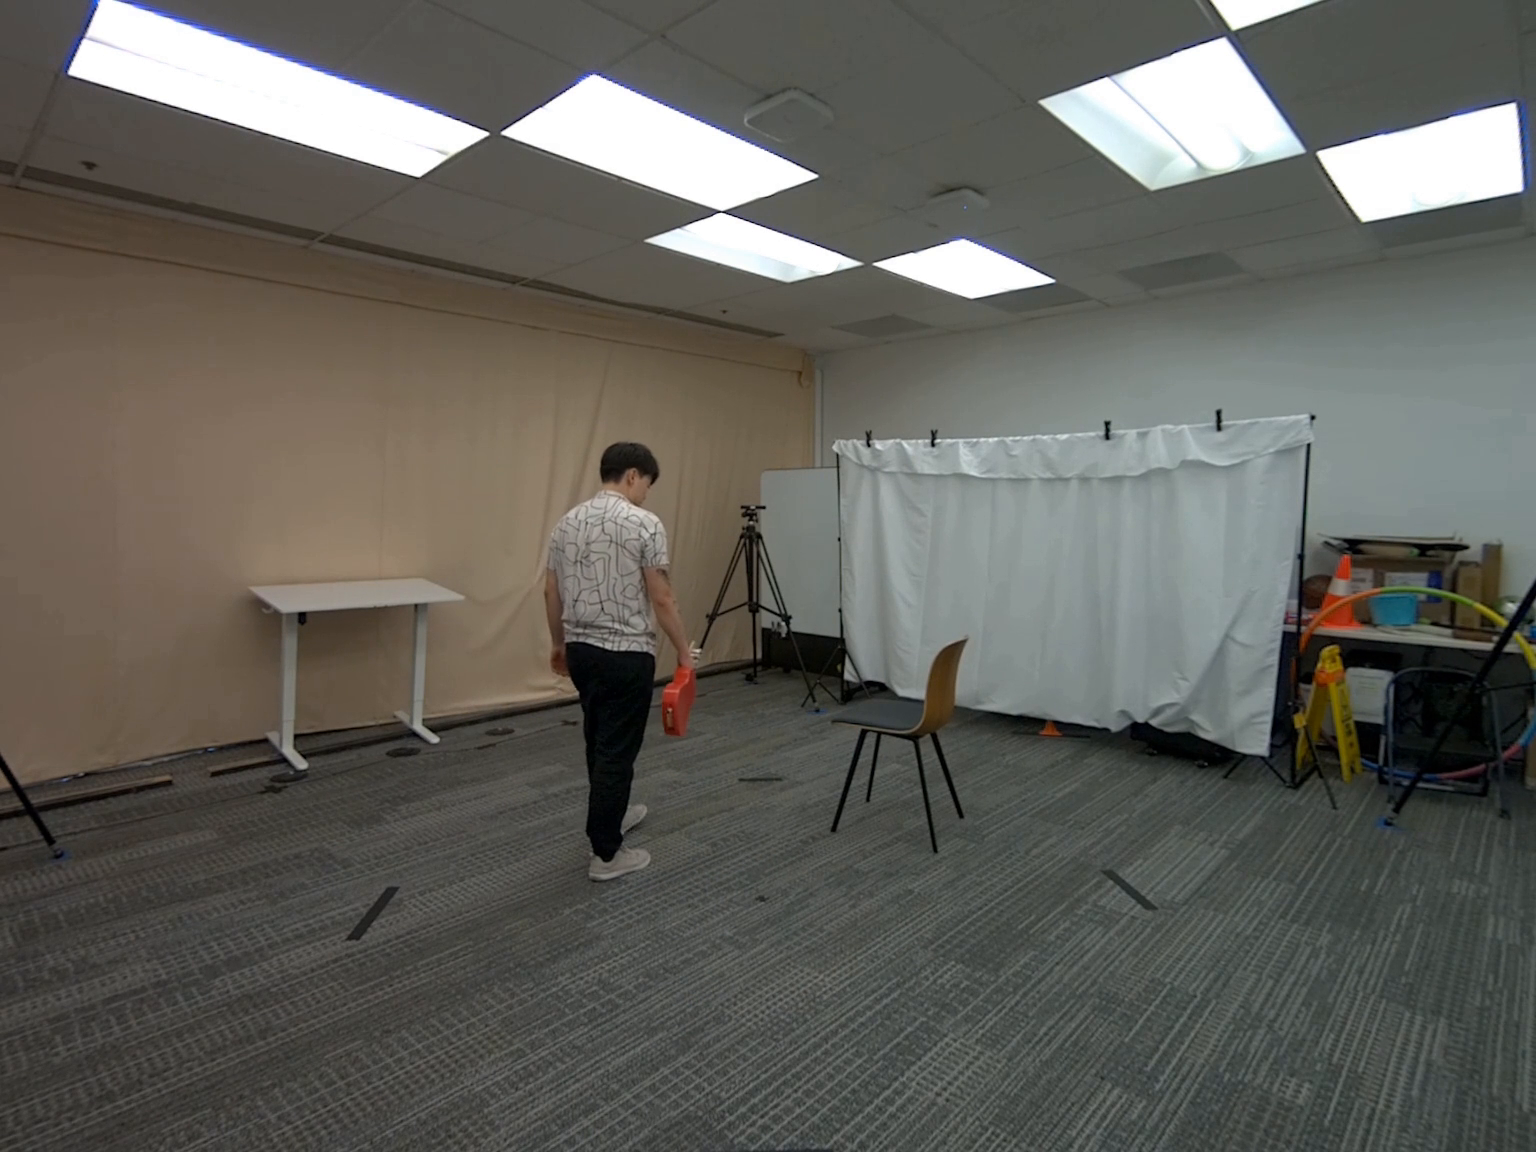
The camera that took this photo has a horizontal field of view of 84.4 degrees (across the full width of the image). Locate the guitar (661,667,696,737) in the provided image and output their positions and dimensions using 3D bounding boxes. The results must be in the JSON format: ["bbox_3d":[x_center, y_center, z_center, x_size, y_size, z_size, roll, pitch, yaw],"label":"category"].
[{"bbox_3d":[-0.319,0.375,3.172,0.071,0.189,0.502,2,36,9],"label":"guitar"}]
